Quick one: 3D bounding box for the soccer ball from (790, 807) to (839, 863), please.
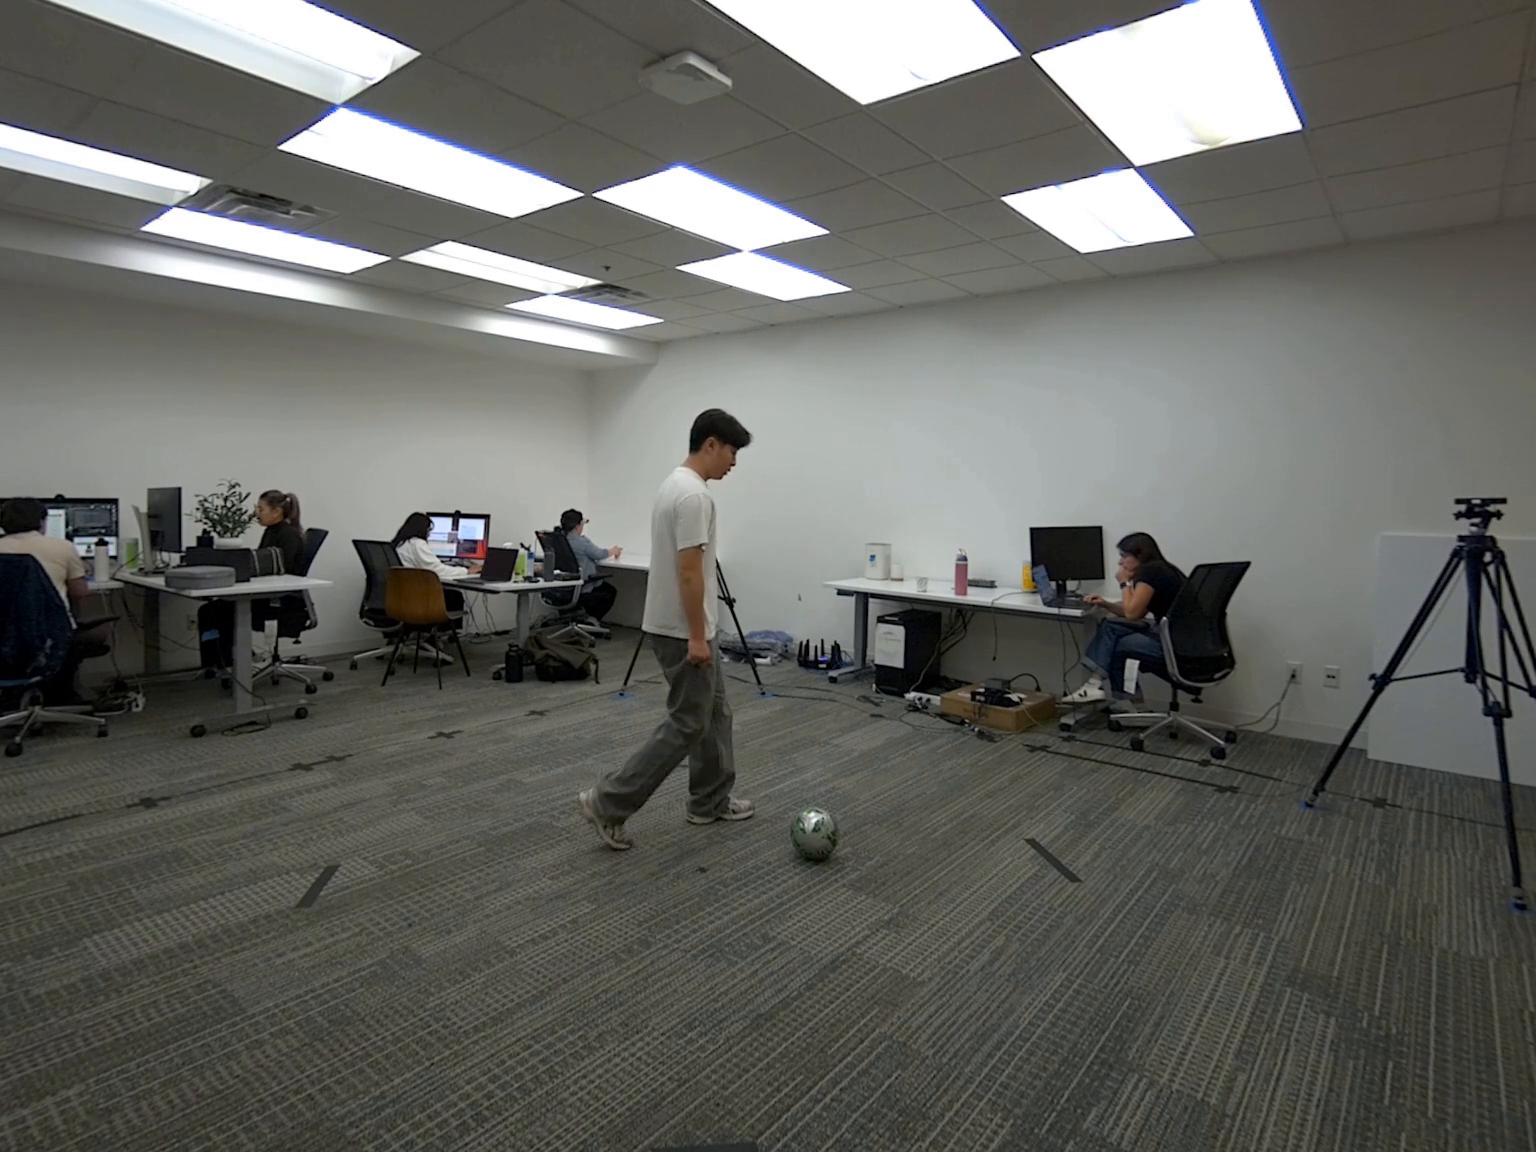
[{"bbox_3d":[0.184,0.967,3.234,0.187,0.187,0.188,1,4,-2],"label":"soccer ball"}]
